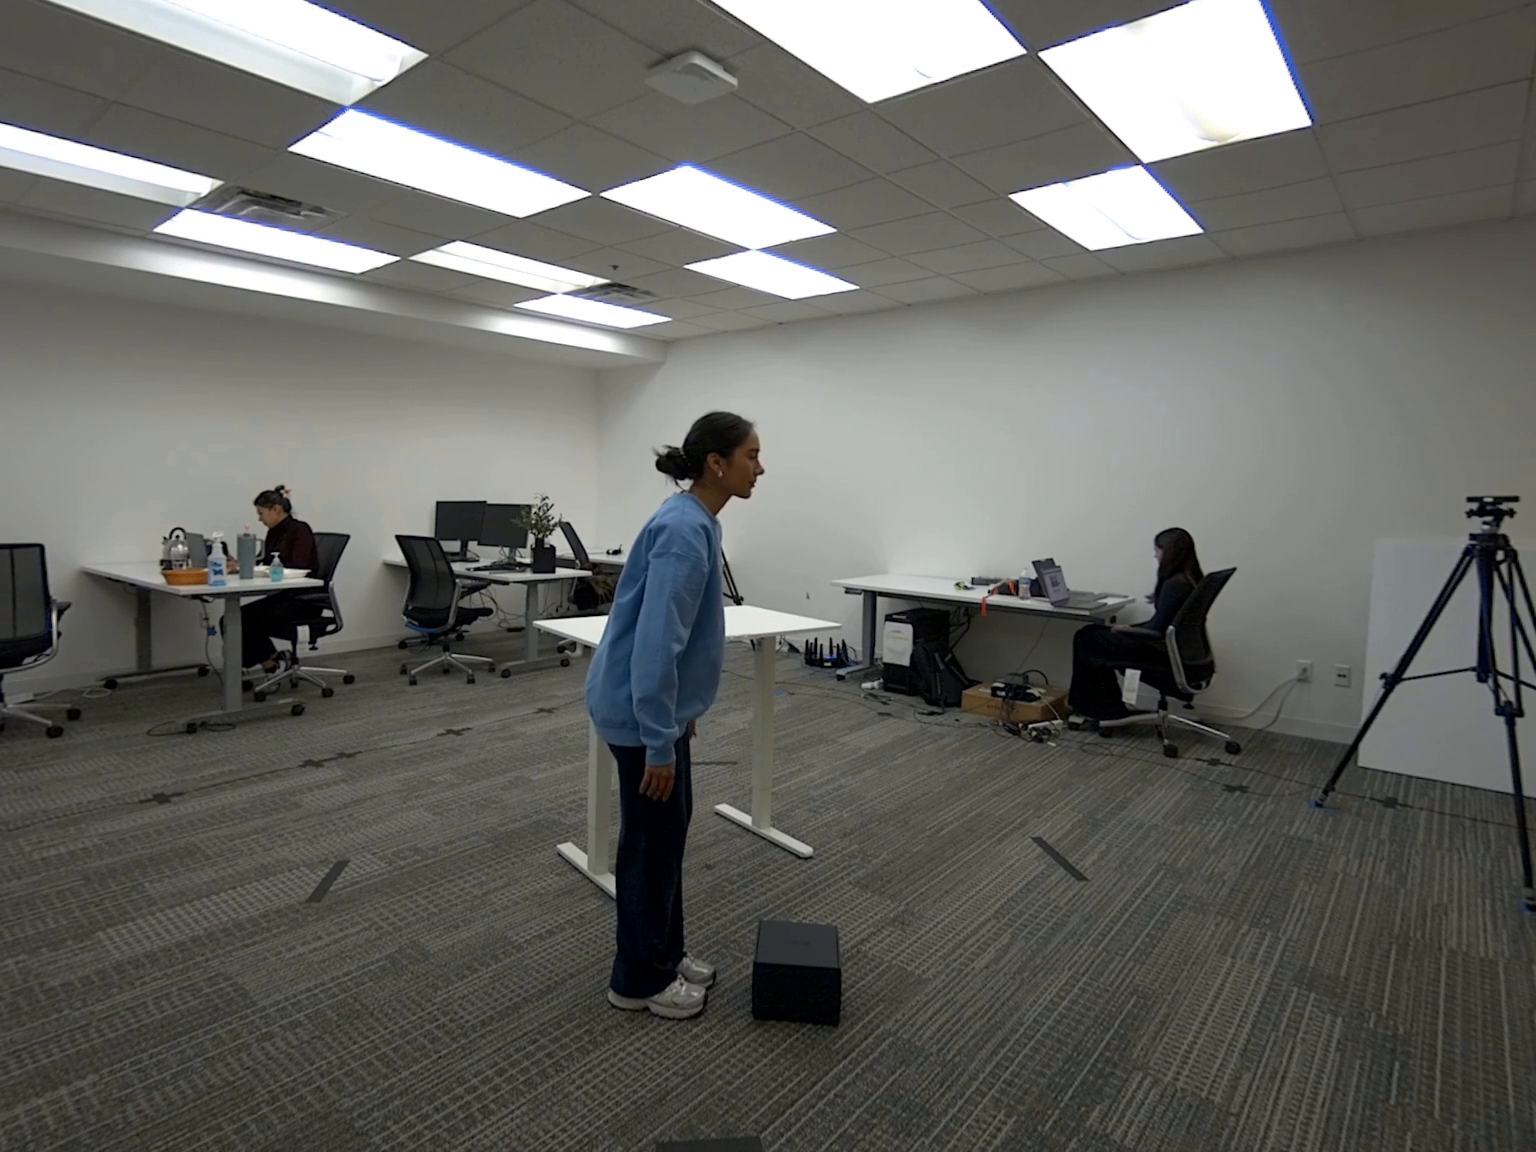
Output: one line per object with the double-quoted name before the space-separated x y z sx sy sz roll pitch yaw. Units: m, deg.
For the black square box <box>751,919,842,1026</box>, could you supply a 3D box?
"black square box" 0.073 1.075 2.304 0.229 0.155 0.217 2 6 4
